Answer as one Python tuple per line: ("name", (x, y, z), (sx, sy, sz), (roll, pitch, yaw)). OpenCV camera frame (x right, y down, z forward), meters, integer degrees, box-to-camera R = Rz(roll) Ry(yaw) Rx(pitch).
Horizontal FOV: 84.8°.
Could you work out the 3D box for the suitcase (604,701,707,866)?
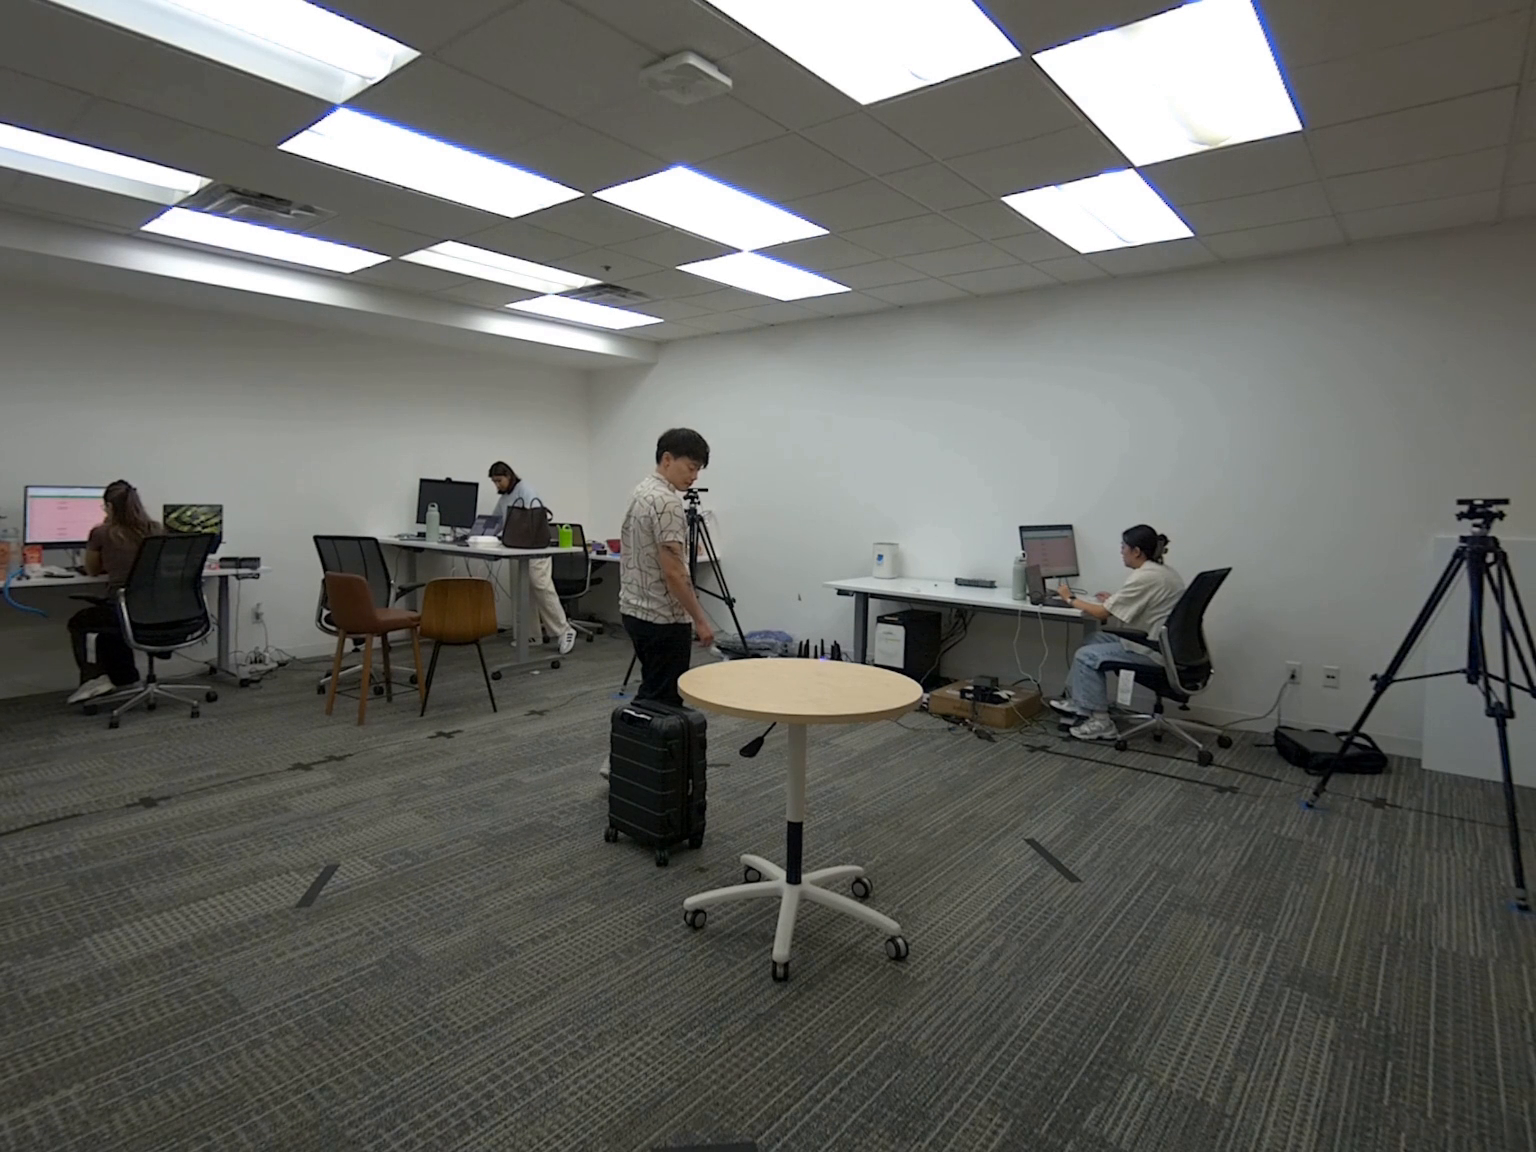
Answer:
("suitcase", (-0.445, 0.770, 3.325), (0.388, 0.549, 0.240), (3, 2, 43))
